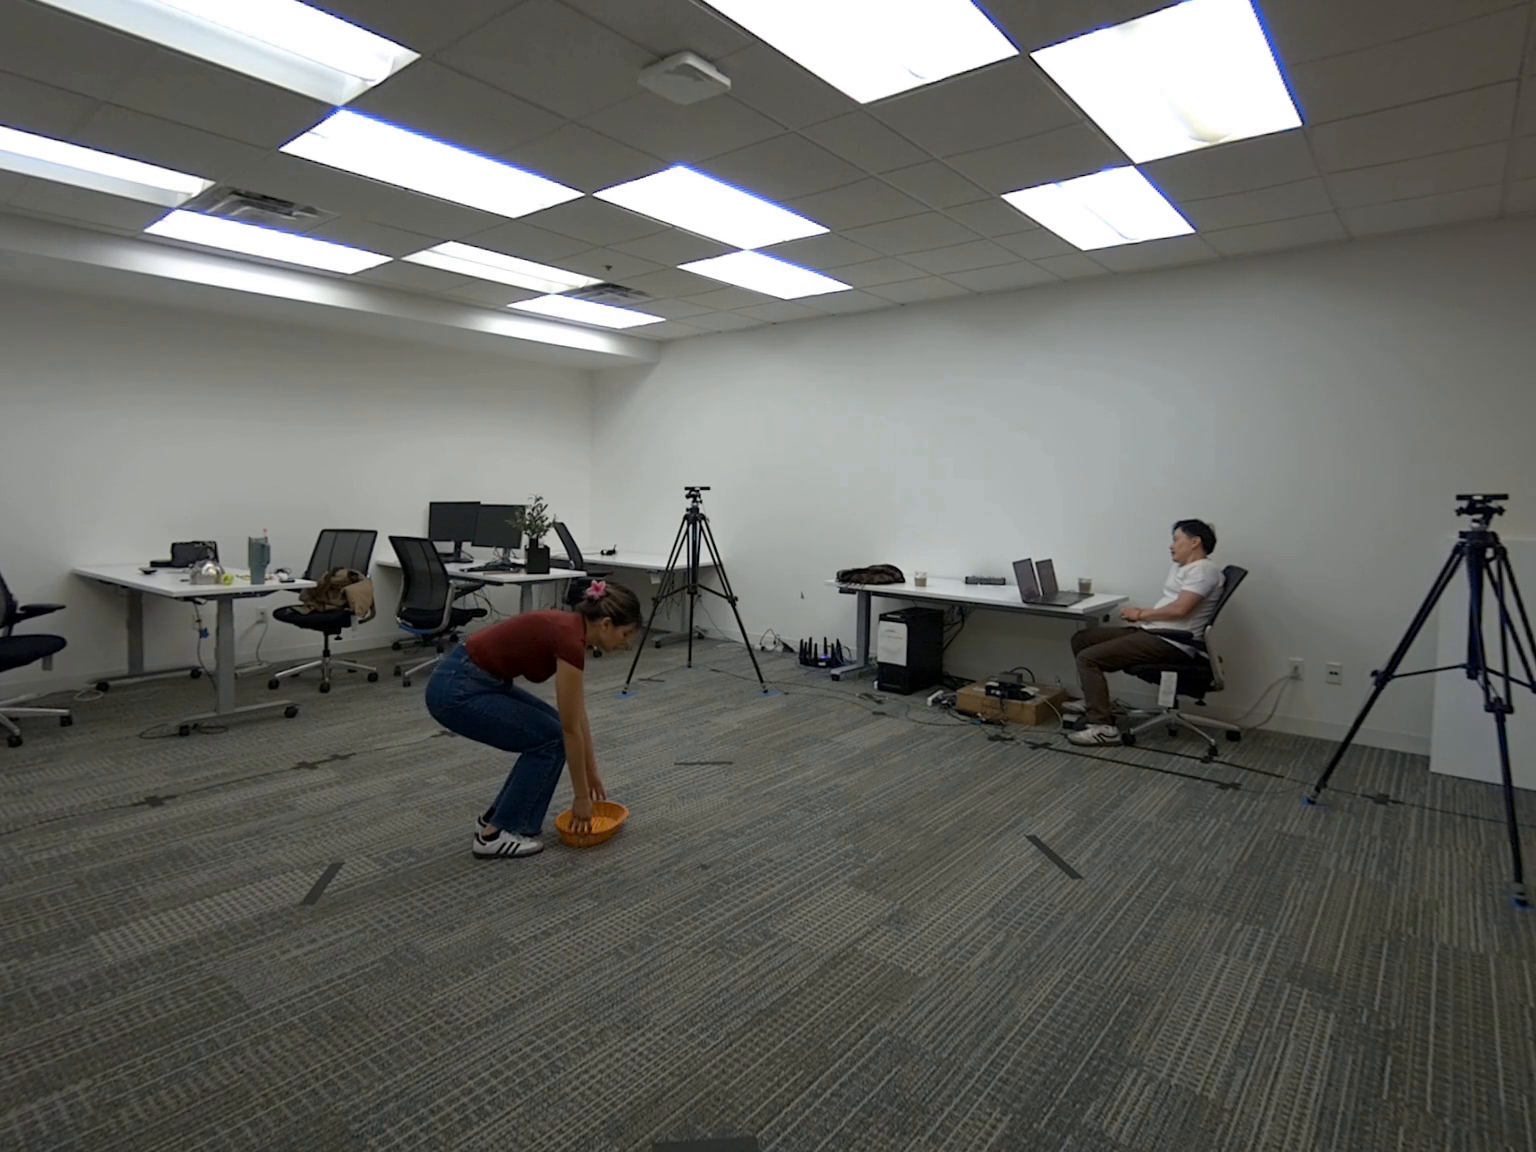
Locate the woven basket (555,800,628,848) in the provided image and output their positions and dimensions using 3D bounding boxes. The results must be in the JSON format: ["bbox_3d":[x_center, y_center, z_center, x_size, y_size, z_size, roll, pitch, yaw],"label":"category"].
[{"bbox_3d":[-0.715,0.988,3.403,0.258,0.073,0.344,4,6,21],"label":"woven basket"}]
